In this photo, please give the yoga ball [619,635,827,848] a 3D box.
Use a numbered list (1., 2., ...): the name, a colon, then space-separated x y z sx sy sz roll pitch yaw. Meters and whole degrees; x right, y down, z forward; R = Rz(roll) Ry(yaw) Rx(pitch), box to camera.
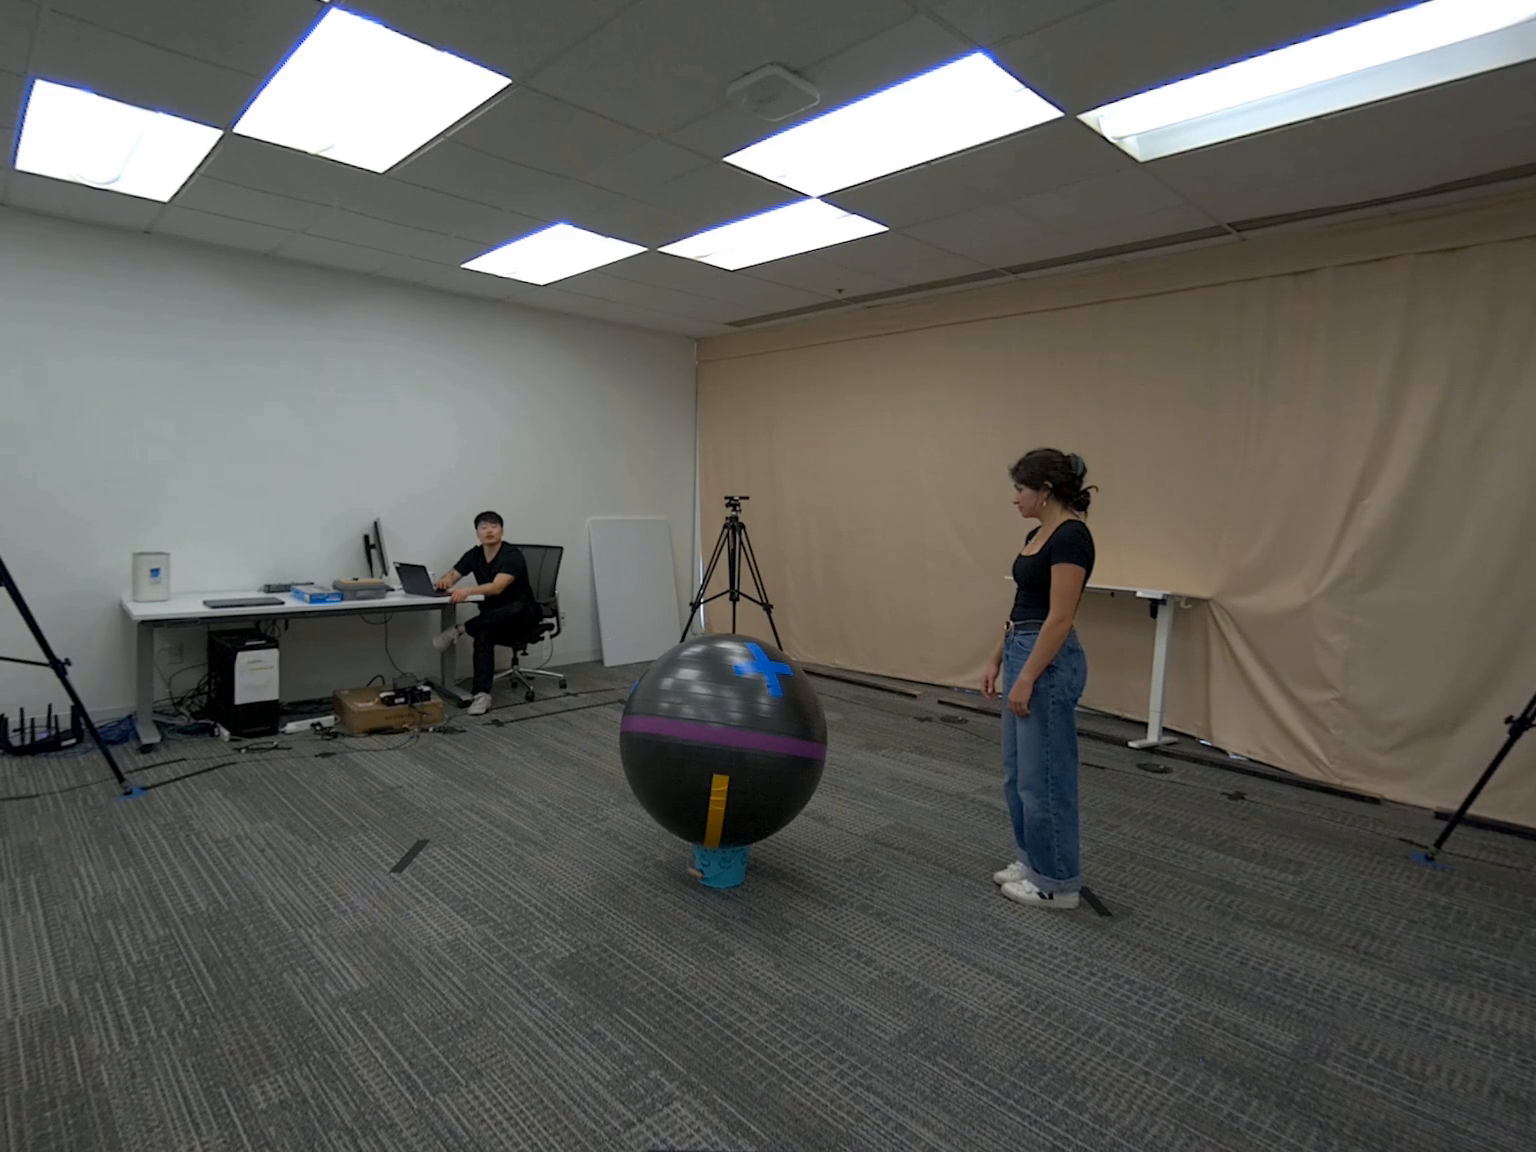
1. yoga ball: -0.163 0.589 3.083 0.757 0.756 0.761 1 4 -1
